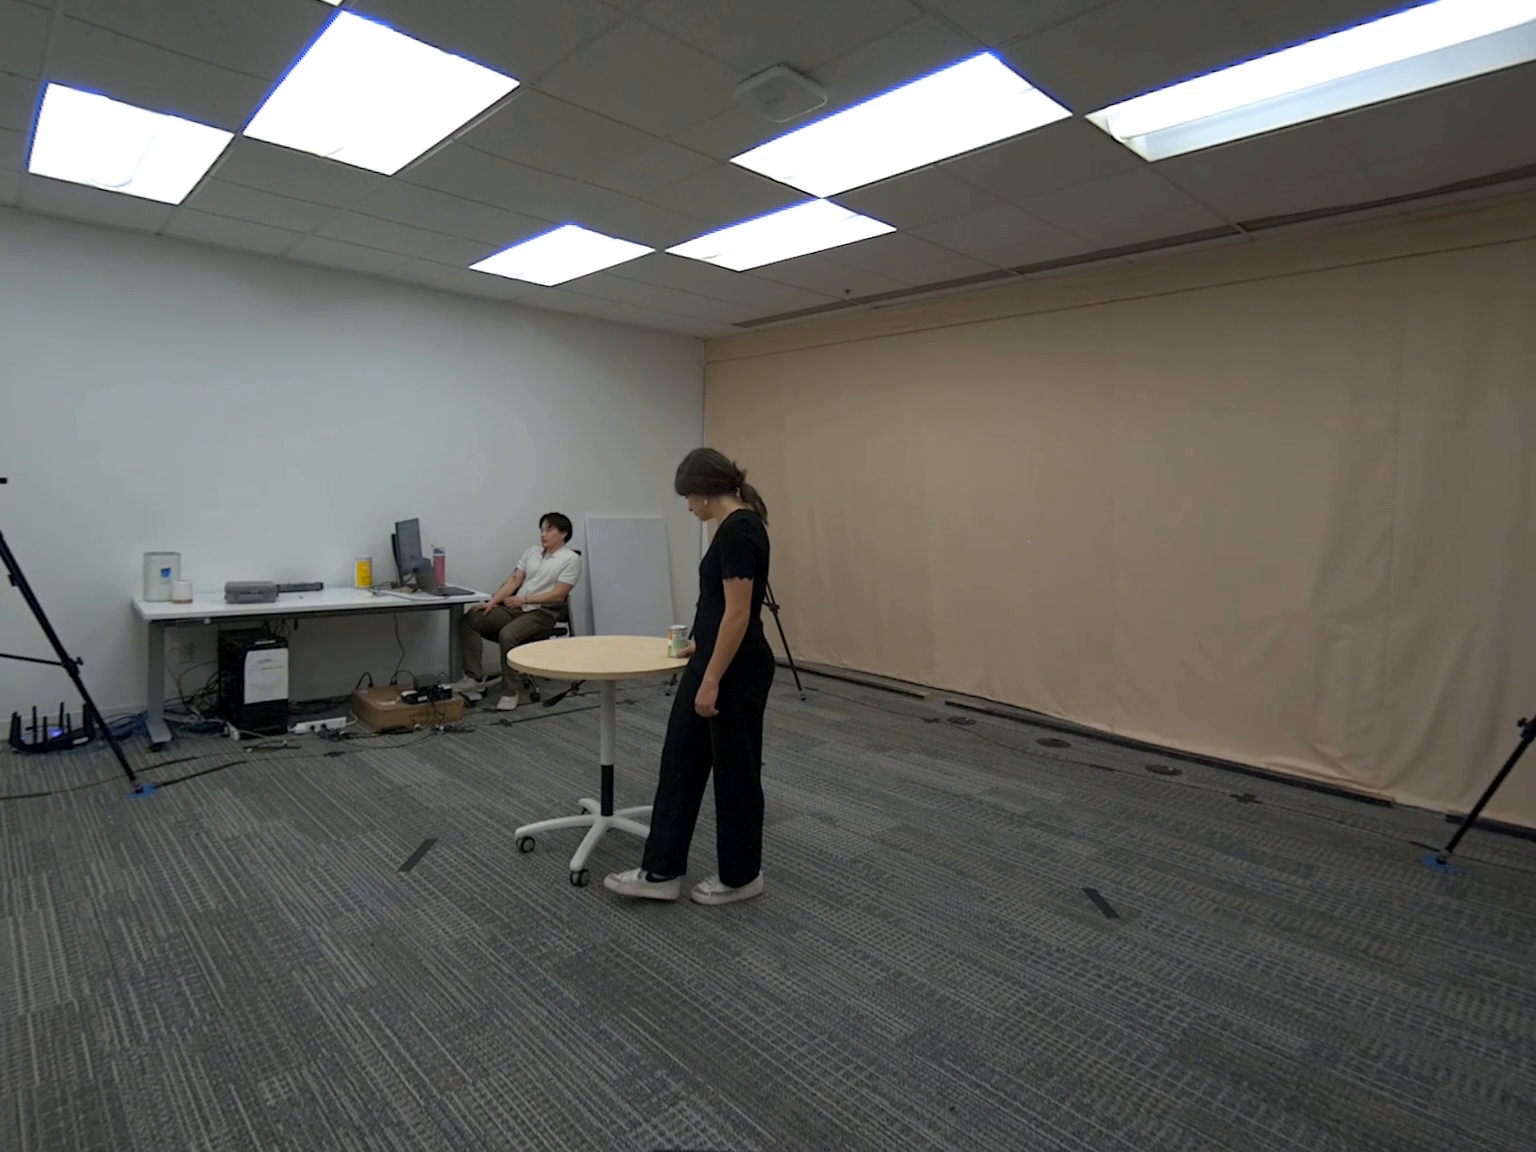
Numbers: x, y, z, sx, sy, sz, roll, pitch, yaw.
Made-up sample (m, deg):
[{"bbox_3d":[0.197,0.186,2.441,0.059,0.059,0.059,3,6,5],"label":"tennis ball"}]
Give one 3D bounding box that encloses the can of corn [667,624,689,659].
[{"bbox_3d":[-0.345,0.253,3.195,0.074,0.111,0.074,5,0,-1],"label":"can of corn"}]
